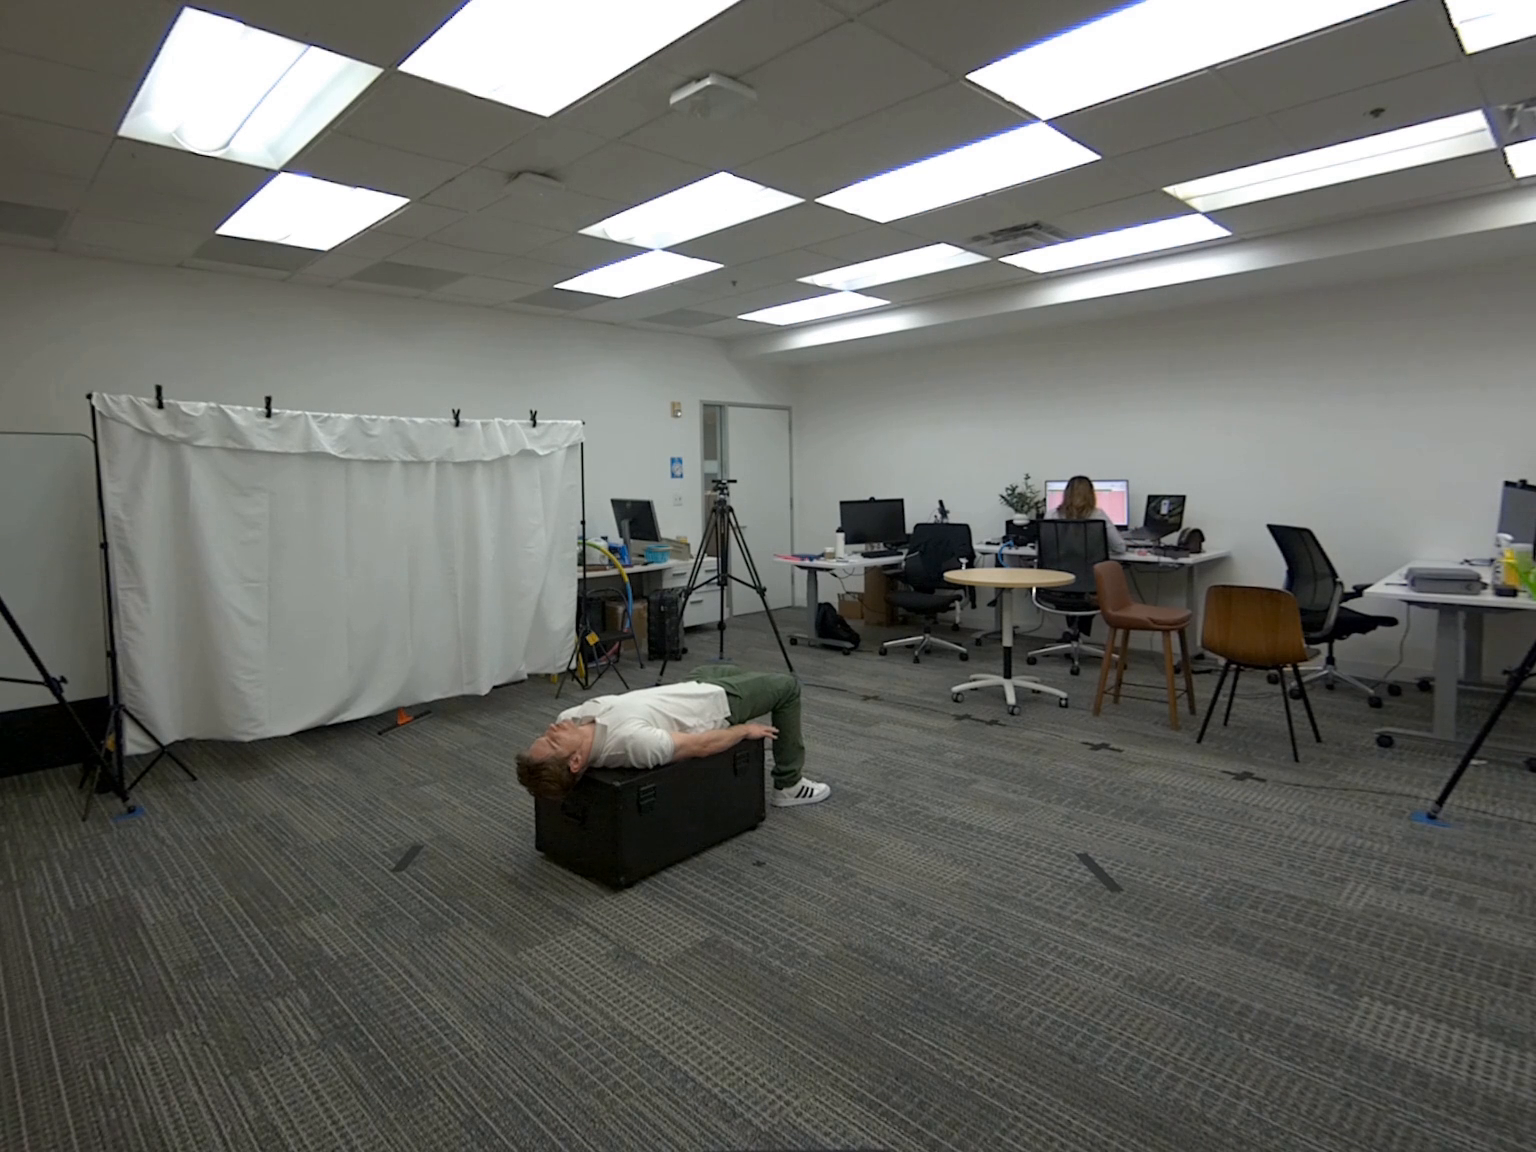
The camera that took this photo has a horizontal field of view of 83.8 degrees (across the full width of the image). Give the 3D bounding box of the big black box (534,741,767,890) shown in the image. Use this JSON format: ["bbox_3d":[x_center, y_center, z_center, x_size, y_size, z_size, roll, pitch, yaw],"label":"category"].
[{"bbox_3d":[-0.414,0.840,3.344,0.539,0.384,0.845,3,6,42],"label":"big black box"}]
